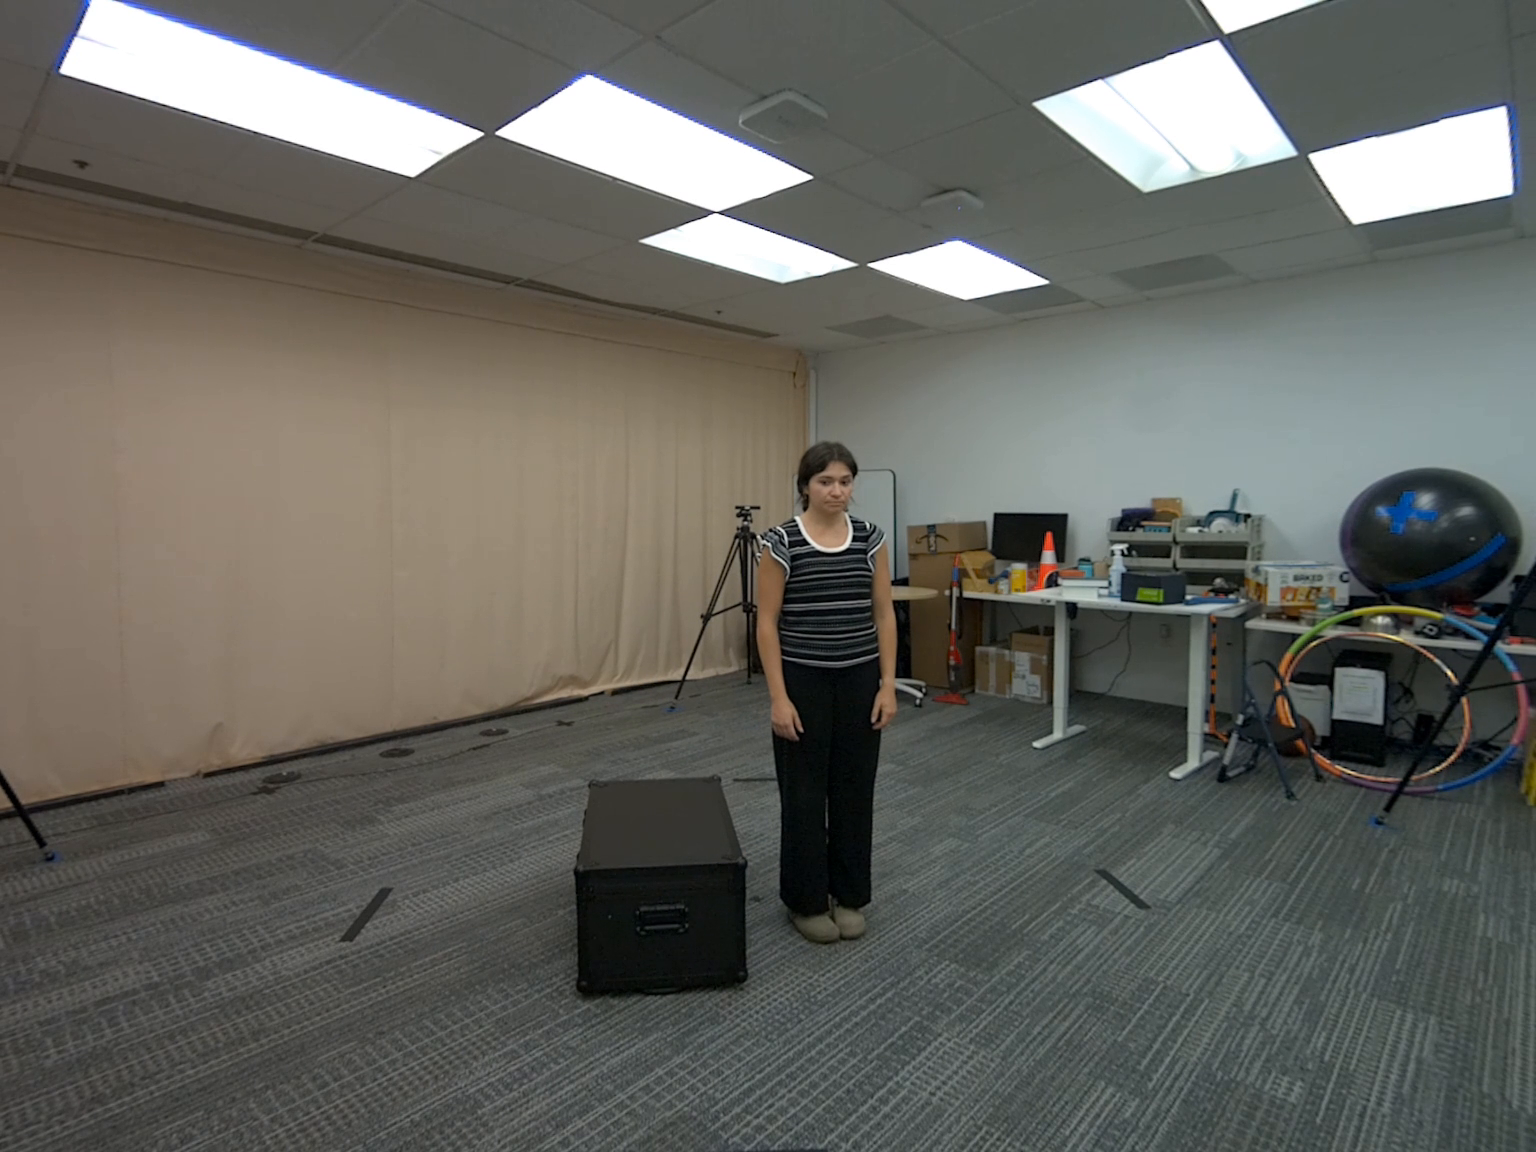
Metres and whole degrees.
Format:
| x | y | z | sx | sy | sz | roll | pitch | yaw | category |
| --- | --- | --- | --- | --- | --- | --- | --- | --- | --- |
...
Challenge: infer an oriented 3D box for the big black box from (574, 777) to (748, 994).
| x | y | z | sx | sy | sz | roll | pitch | yaw | category |
| --- | --- | --- | --- | --- | --- | --- | --- | --- | --- |
| -0.359 | 0.968 | 2.802 | 0.517 | 0.395 | 0.871 | 0 | 5 | -9 | big black box |
